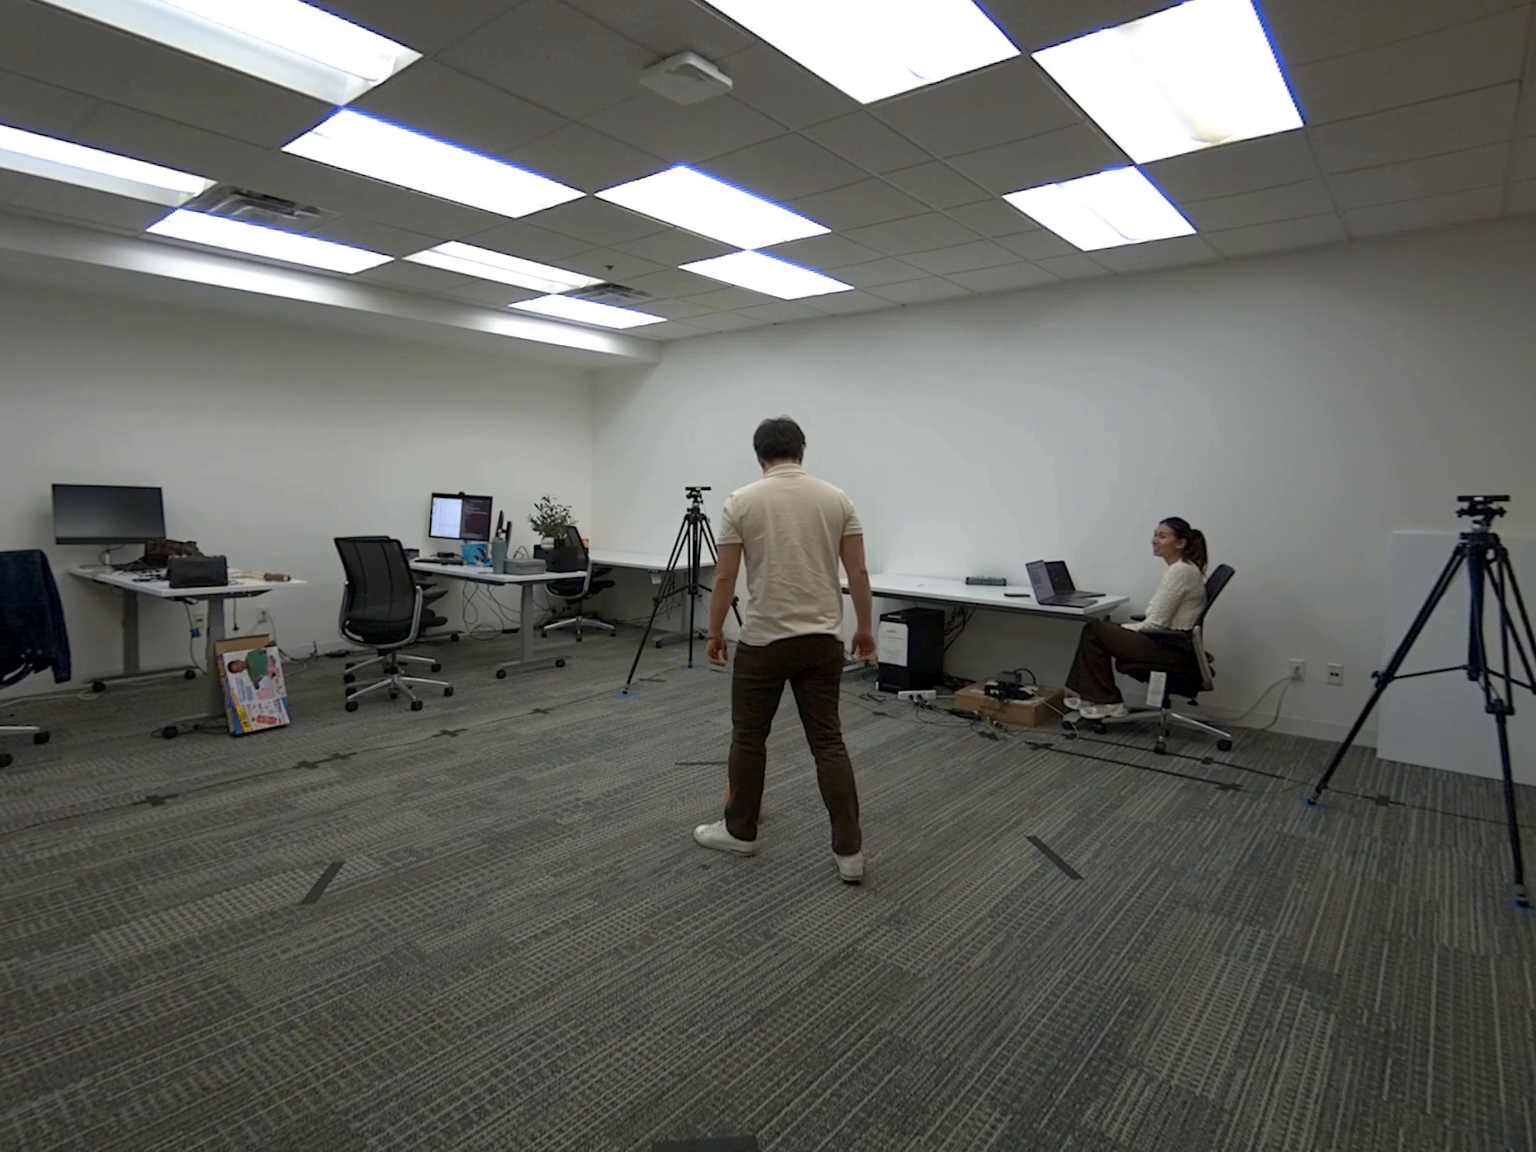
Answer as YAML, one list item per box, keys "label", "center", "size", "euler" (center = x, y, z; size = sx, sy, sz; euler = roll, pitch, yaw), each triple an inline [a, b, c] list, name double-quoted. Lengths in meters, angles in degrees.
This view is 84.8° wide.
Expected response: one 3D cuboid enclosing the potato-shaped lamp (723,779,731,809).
- label: "potato-shaped lamp"
  center: [-0.109, 0.915, 3.596]
  size: [0.168, 0.197, 0.169]
  euler: [1, 5, 17]
